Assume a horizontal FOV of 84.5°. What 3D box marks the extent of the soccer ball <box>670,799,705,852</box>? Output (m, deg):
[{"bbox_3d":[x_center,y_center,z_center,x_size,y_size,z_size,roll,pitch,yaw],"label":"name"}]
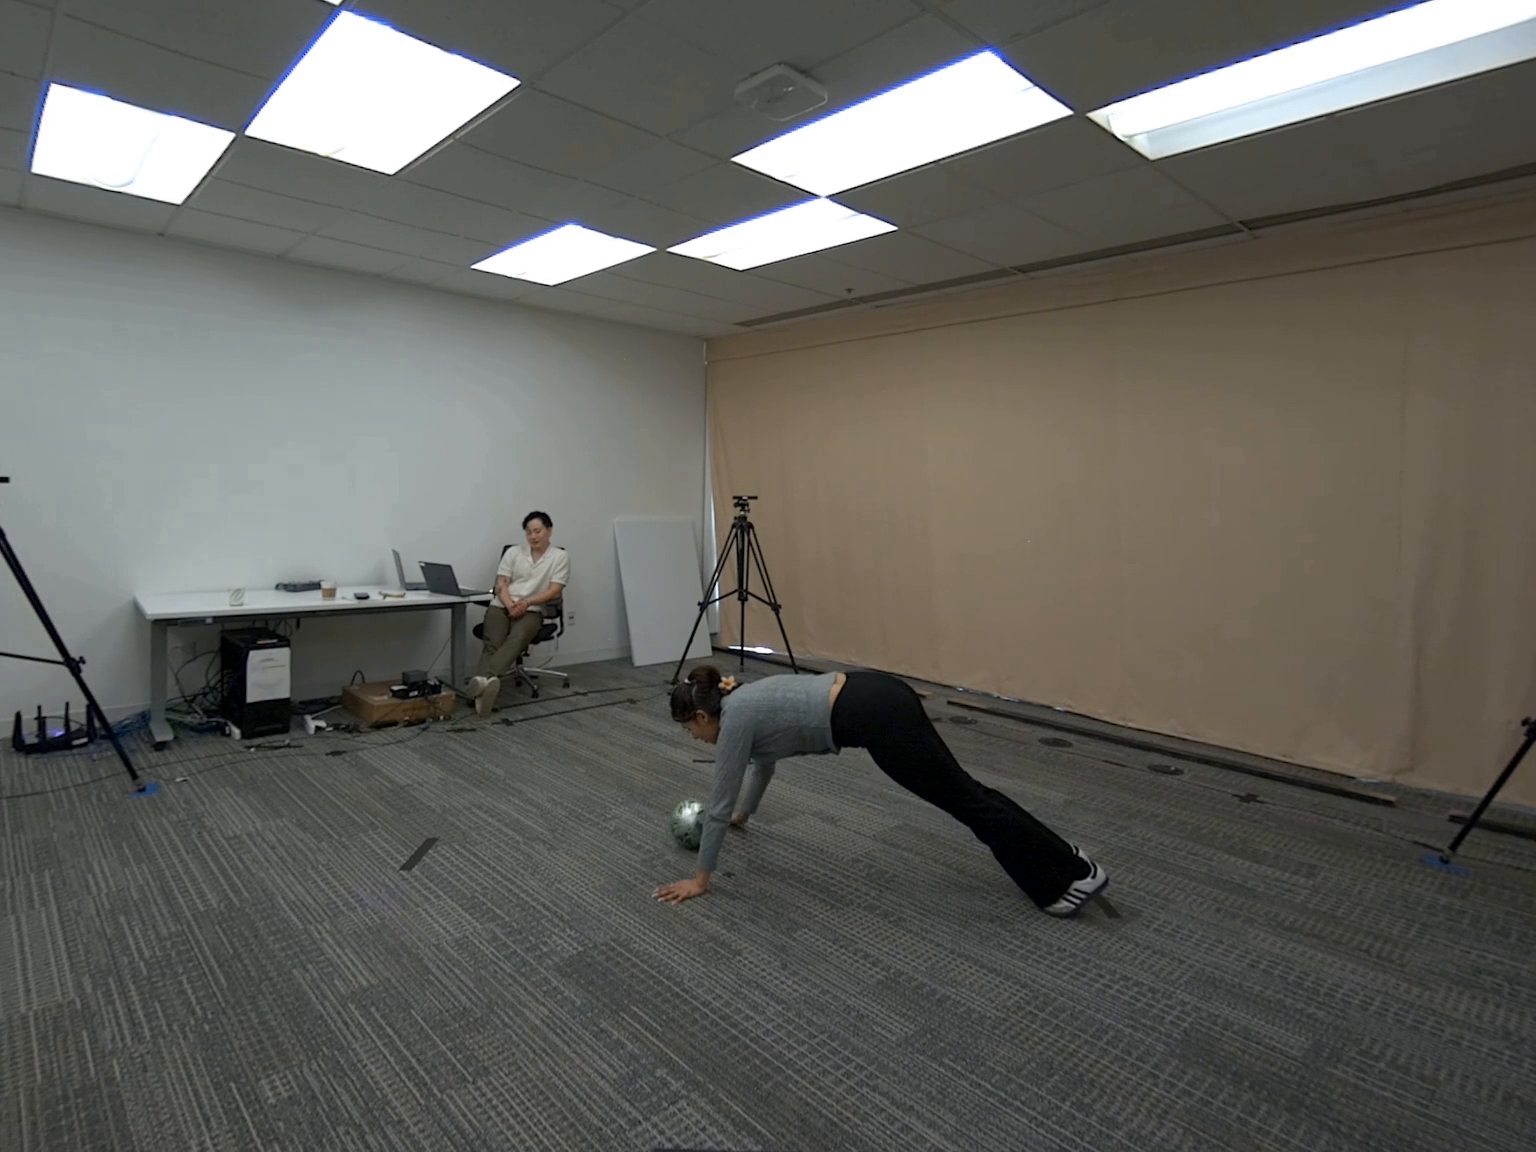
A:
[{"bbox_3d":[-0.312,0.979,3.344,0.187,0.187,0.188,1,4,-1],"label":"soccer ball"}]
